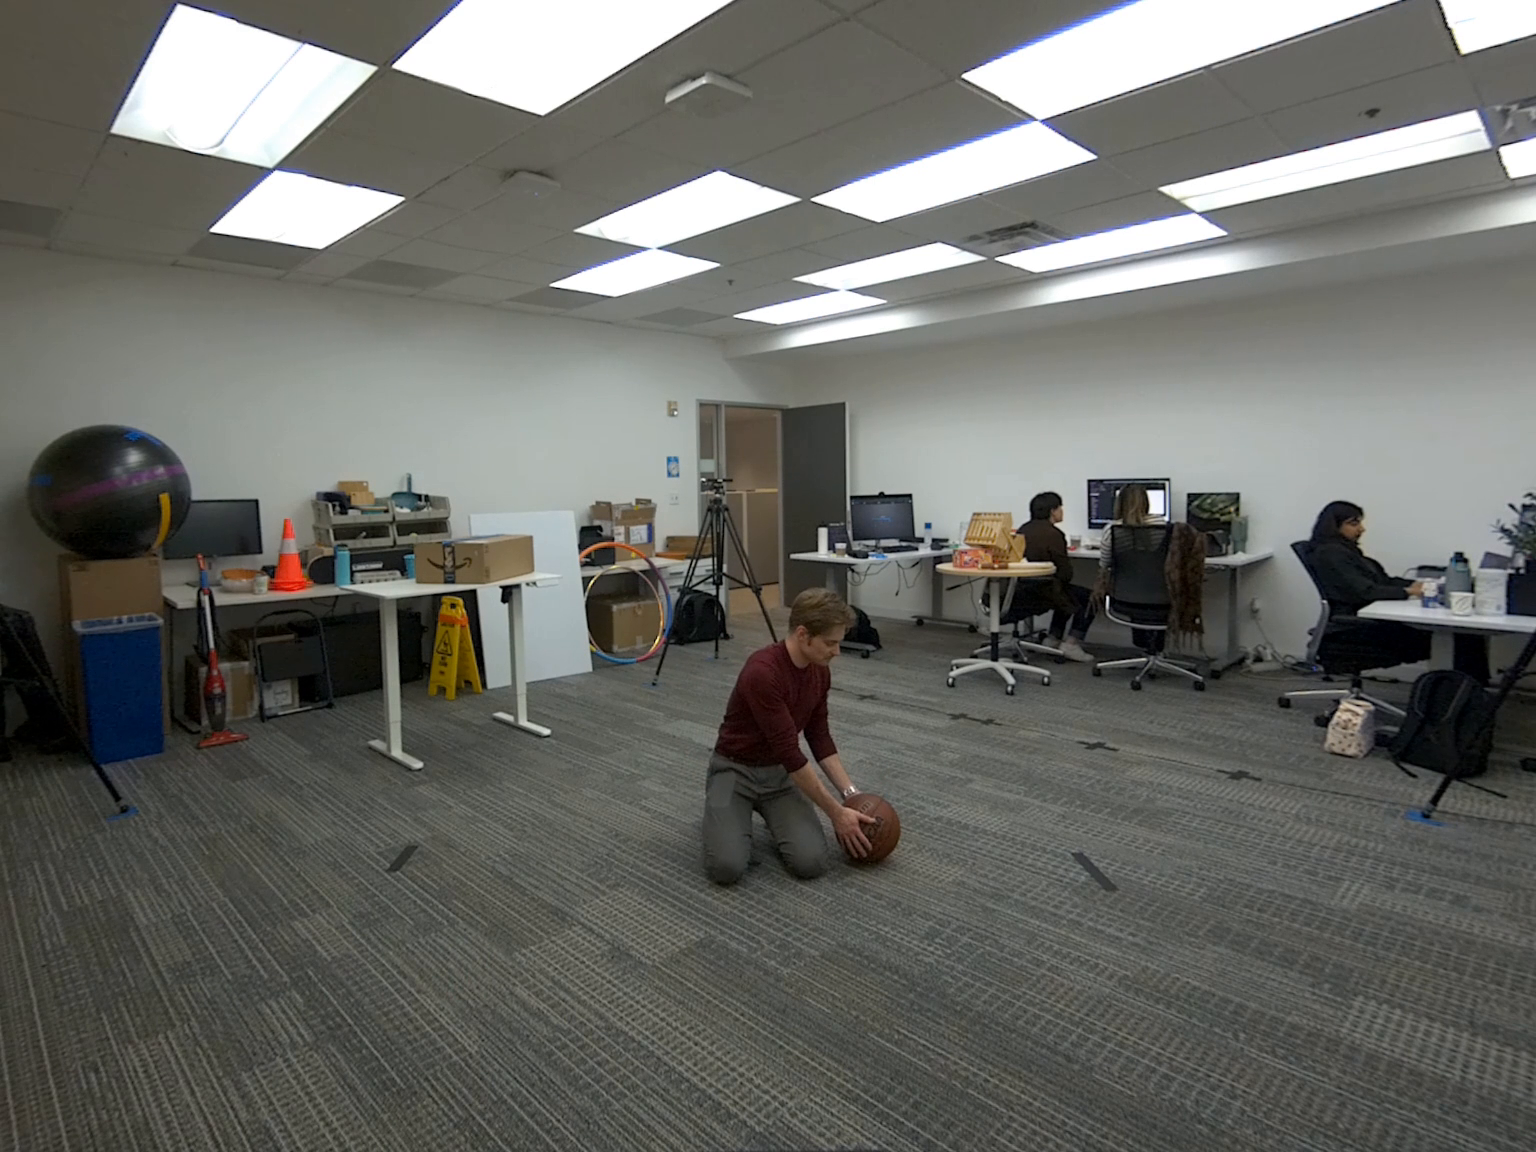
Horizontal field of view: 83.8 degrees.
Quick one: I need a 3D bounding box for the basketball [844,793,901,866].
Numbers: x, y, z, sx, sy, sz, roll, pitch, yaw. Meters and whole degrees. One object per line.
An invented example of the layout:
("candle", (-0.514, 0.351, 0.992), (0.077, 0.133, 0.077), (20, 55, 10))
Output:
("basketball", (0.361, 0.910, 3.117), (0.236, 0.235, 0.237), (-1, 5, -2))
